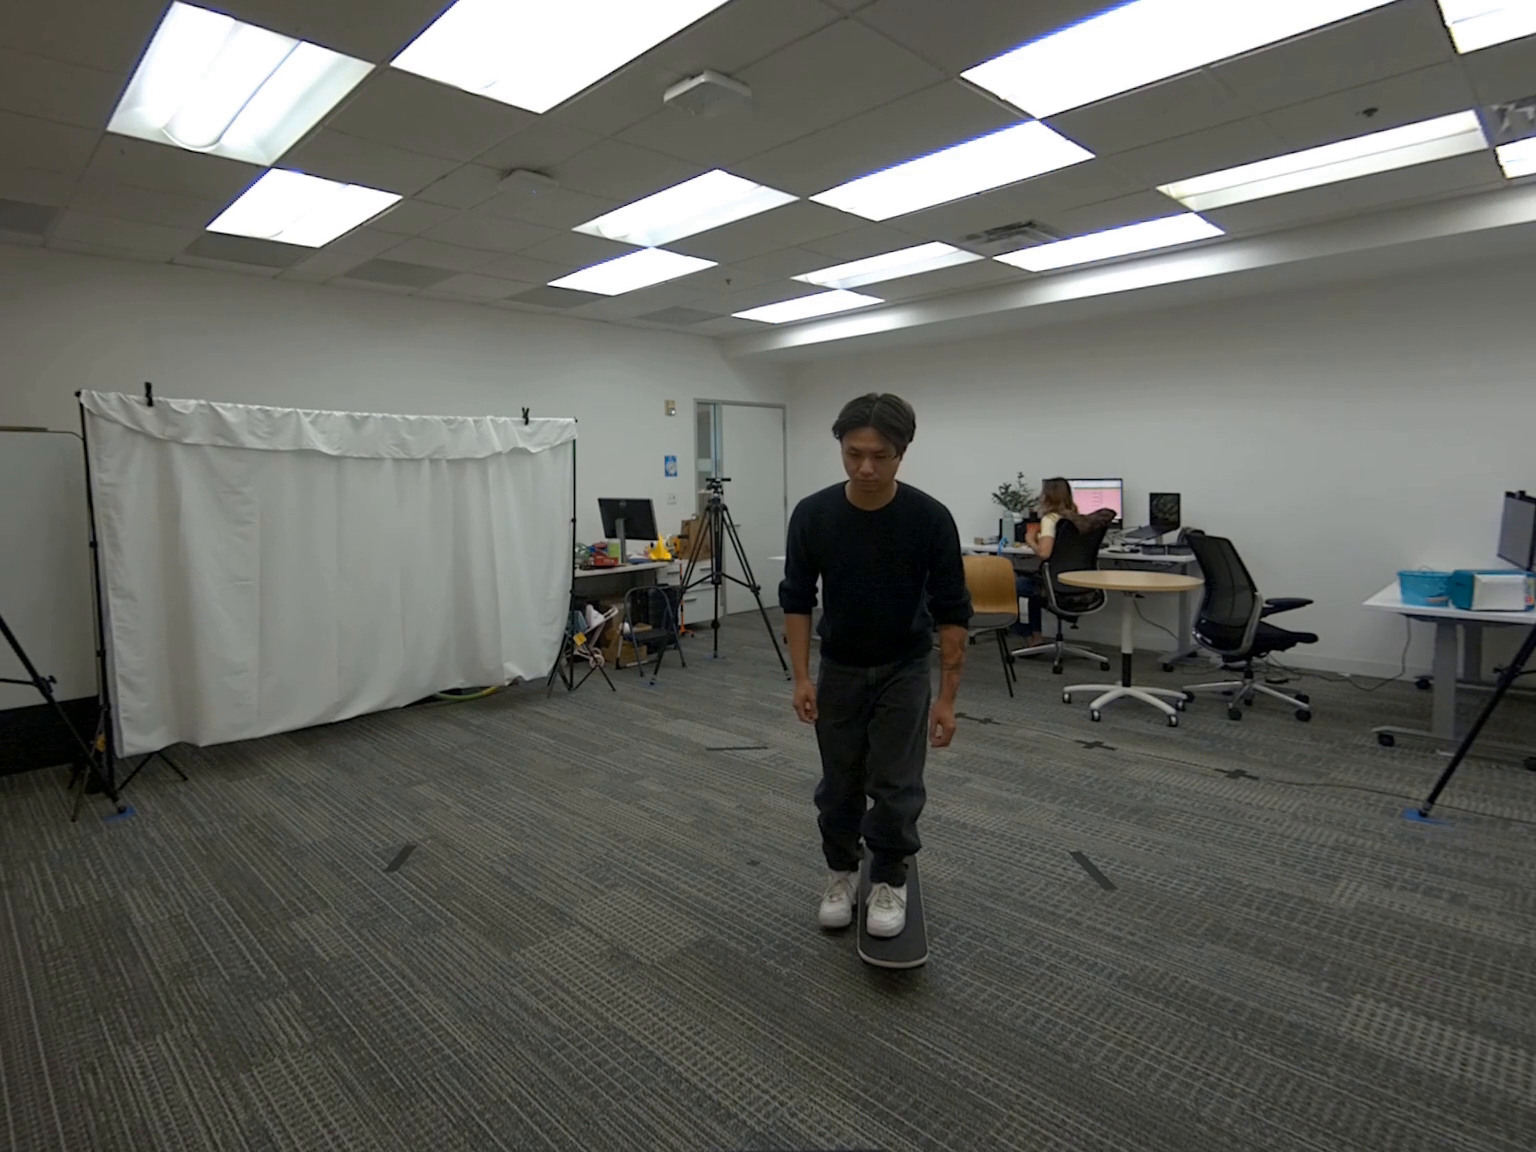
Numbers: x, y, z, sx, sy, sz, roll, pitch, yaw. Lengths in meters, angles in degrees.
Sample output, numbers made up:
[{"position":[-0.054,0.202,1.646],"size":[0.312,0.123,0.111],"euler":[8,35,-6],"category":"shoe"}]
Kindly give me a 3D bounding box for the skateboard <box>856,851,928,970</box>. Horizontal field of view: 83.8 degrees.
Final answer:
[{"position":[0.389,1.030,2.655],"size":[0.195,0.109,0.785],"euler":[-1,8,6],"category":"skateboard"}]
